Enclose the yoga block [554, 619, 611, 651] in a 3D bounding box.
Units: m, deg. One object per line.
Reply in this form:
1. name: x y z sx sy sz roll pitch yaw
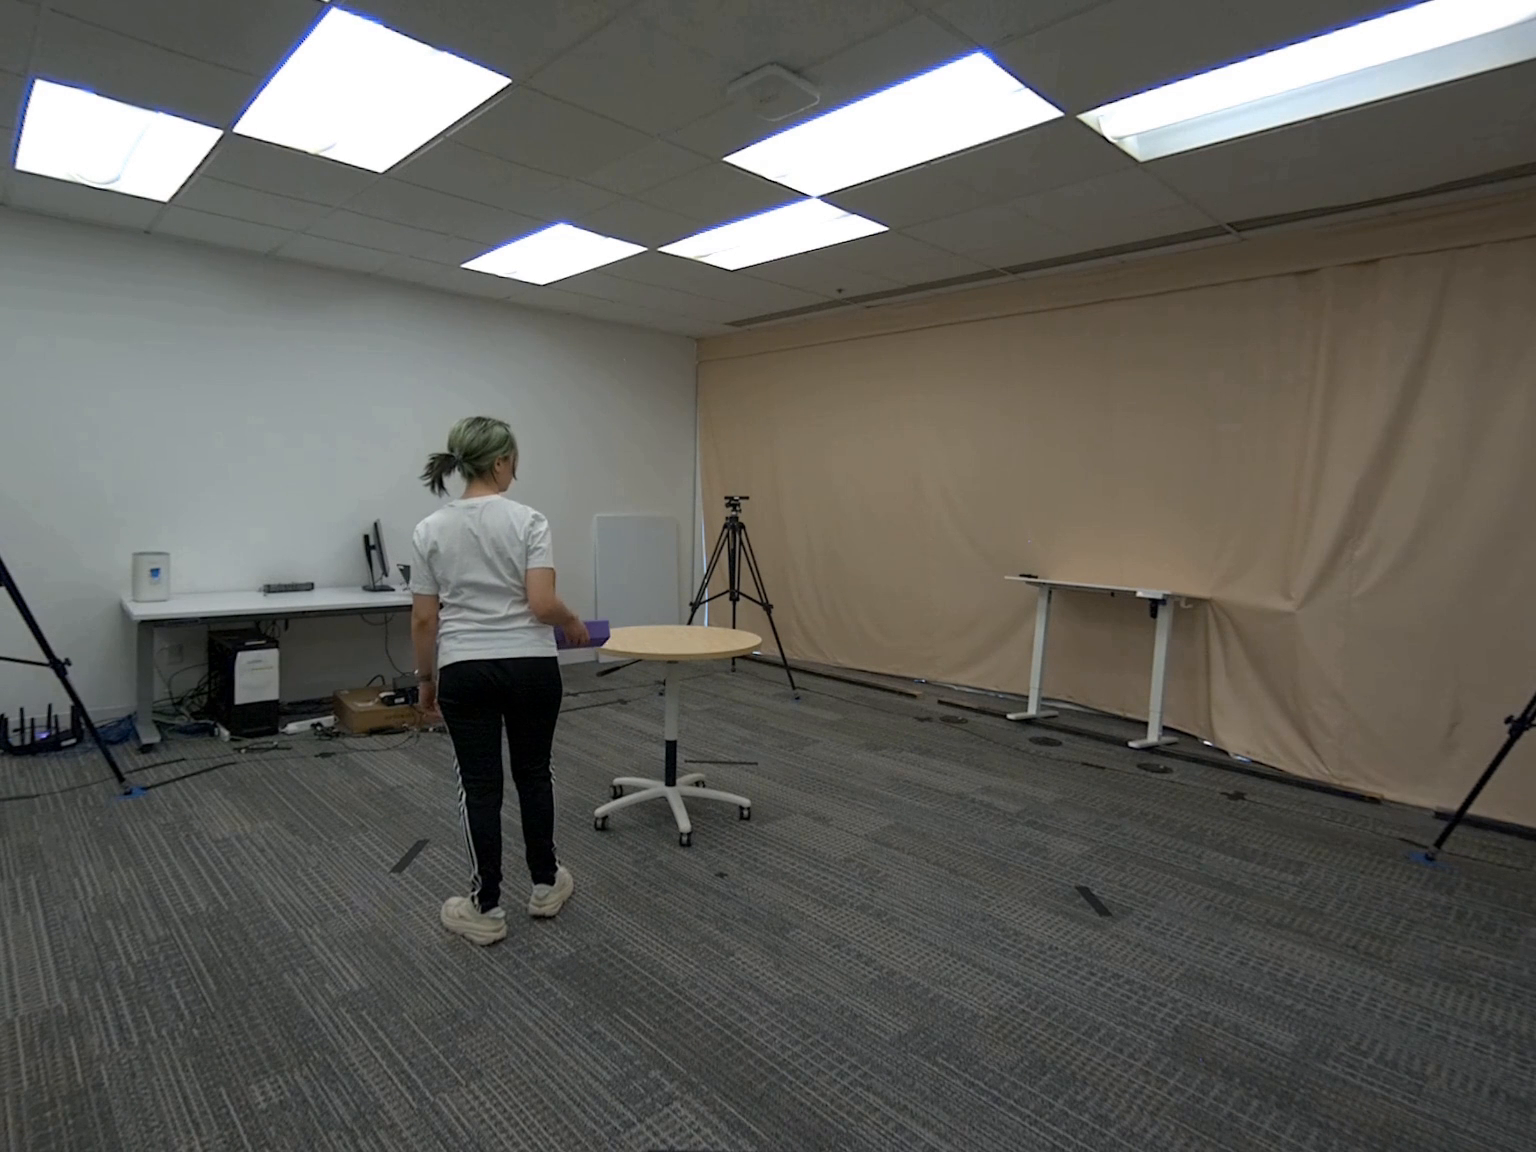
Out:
1. yoga block: -0.699 0.209 2.976 0.226 0.077 0.149 -3 -14 -17
